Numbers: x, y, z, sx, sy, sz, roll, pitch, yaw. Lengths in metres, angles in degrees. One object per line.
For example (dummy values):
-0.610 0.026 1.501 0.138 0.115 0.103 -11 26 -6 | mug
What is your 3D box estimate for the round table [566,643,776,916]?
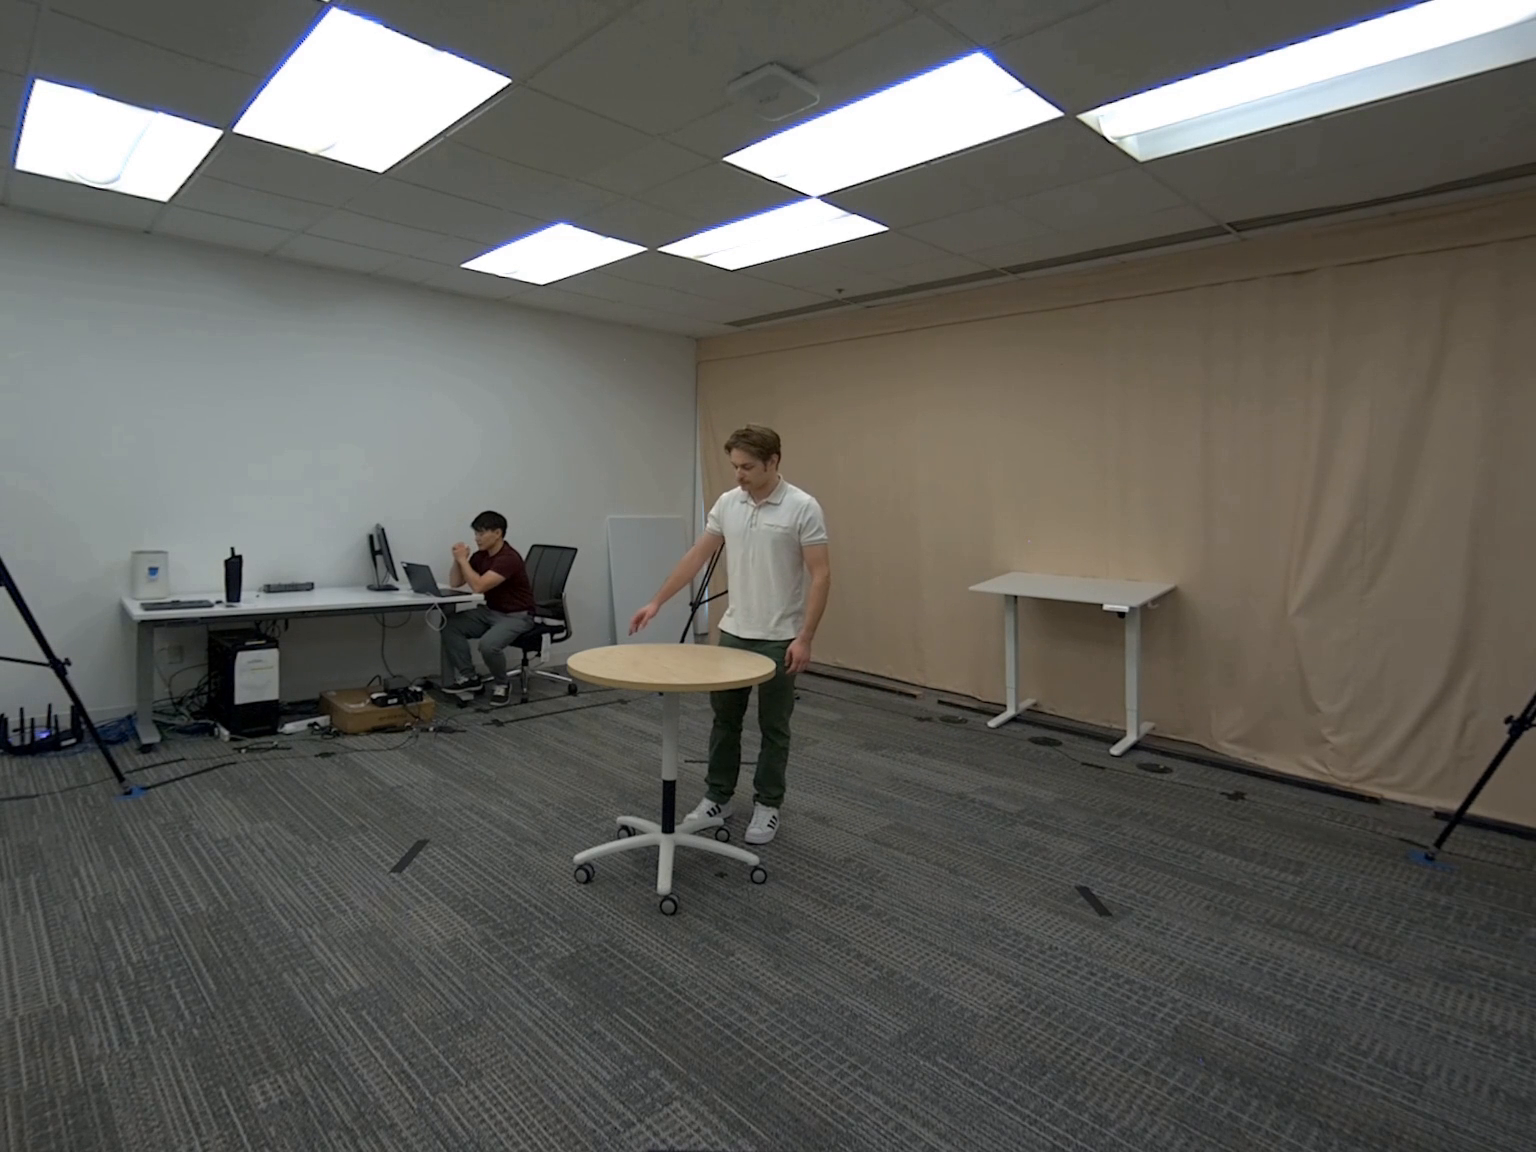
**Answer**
-0.384 0.704 3.119 0.784 0.785 0.787 2 4 -1 | round table
